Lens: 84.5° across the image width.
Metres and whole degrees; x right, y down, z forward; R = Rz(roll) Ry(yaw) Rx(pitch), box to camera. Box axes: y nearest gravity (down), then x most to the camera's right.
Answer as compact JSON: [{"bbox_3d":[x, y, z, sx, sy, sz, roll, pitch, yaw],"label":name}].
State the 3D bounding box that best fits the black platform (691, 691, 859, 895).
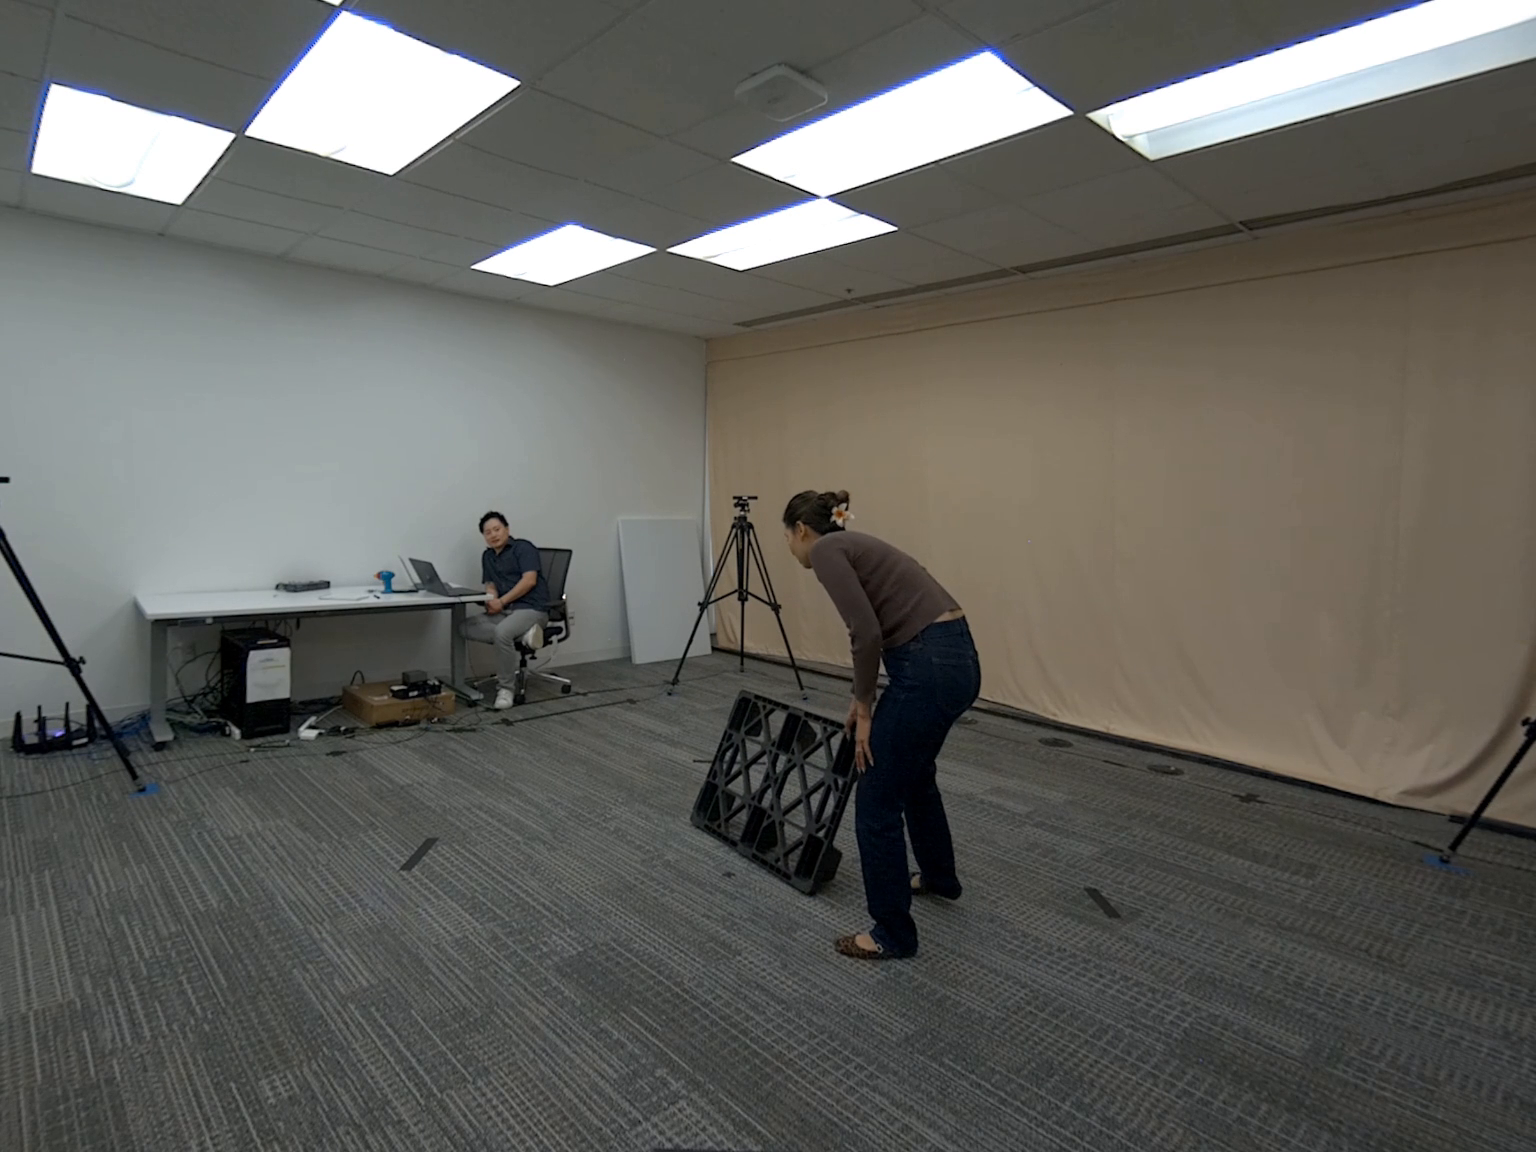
[{"bbox_3d":[0.046,0.834,3.349,0.139,0.607,0.825,28,-12,-34],"label":"black platform"}]
